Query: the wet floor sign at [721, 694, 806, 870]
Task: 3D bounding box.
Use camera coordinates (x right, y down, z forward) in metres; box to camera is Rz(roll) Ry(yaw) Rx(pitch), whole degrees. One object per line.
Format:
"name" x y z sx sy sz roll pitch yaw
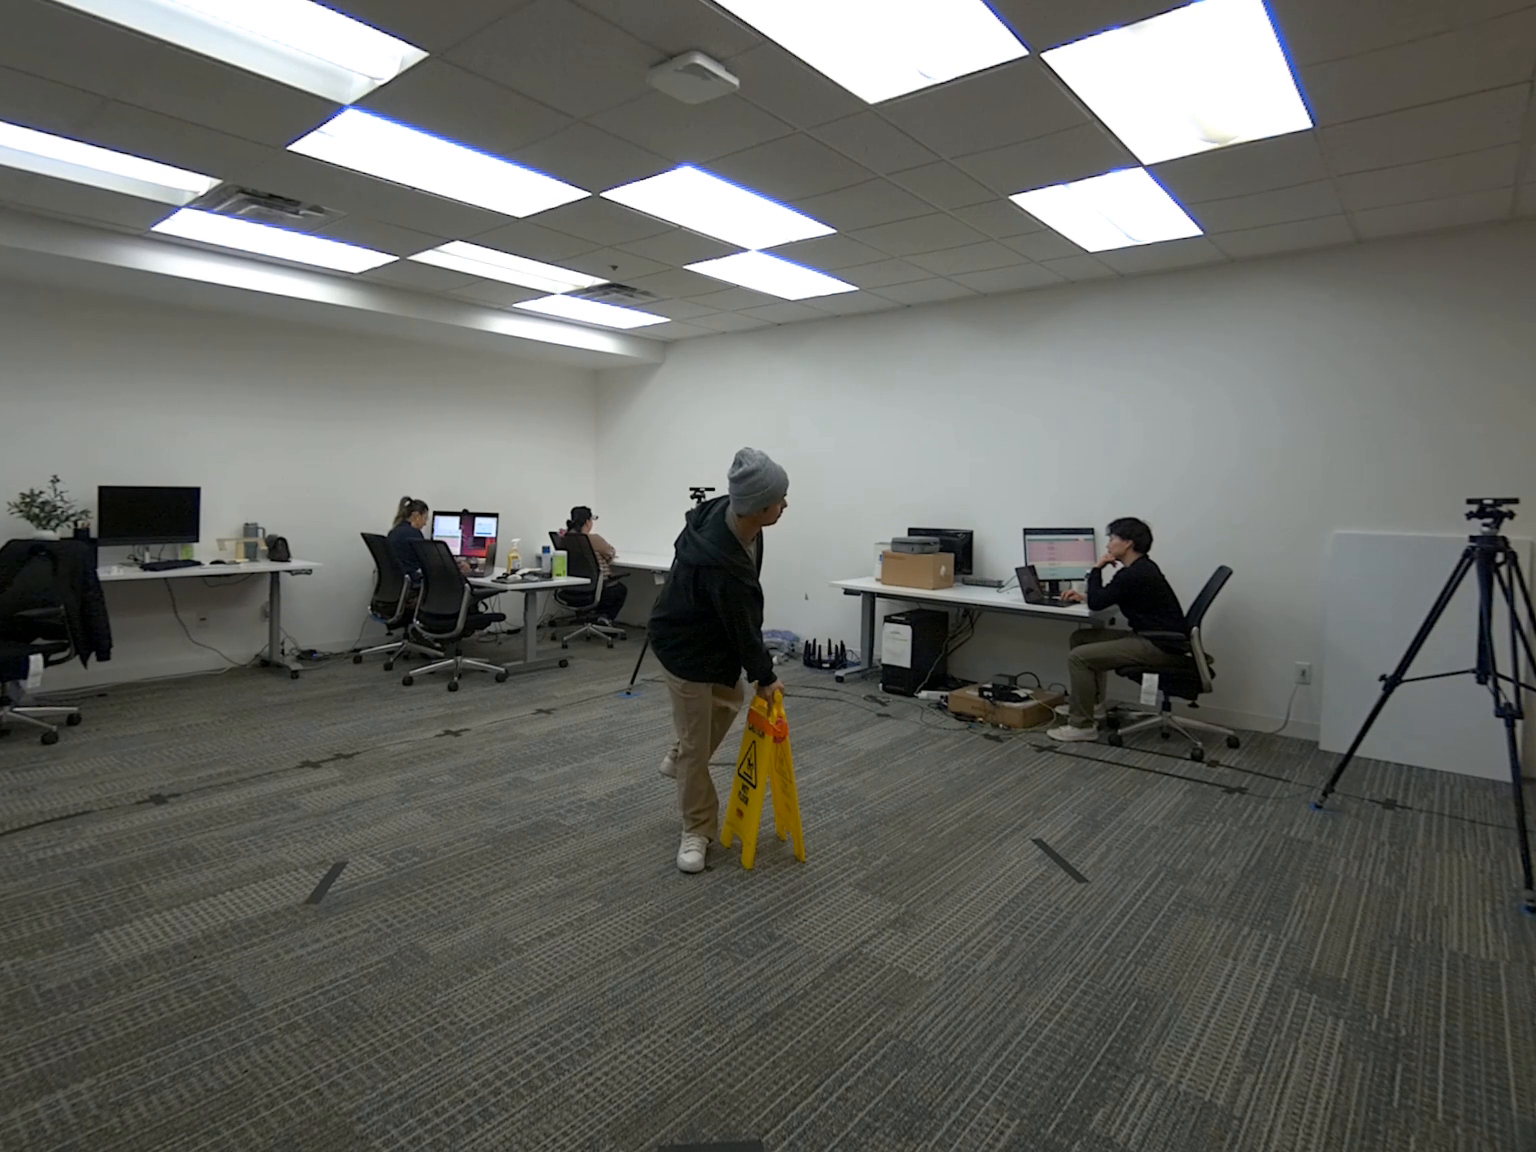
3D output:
"wet floor sign" -0.014 0.731 3.250 0.283 0.644 0.289 2 3 -22
